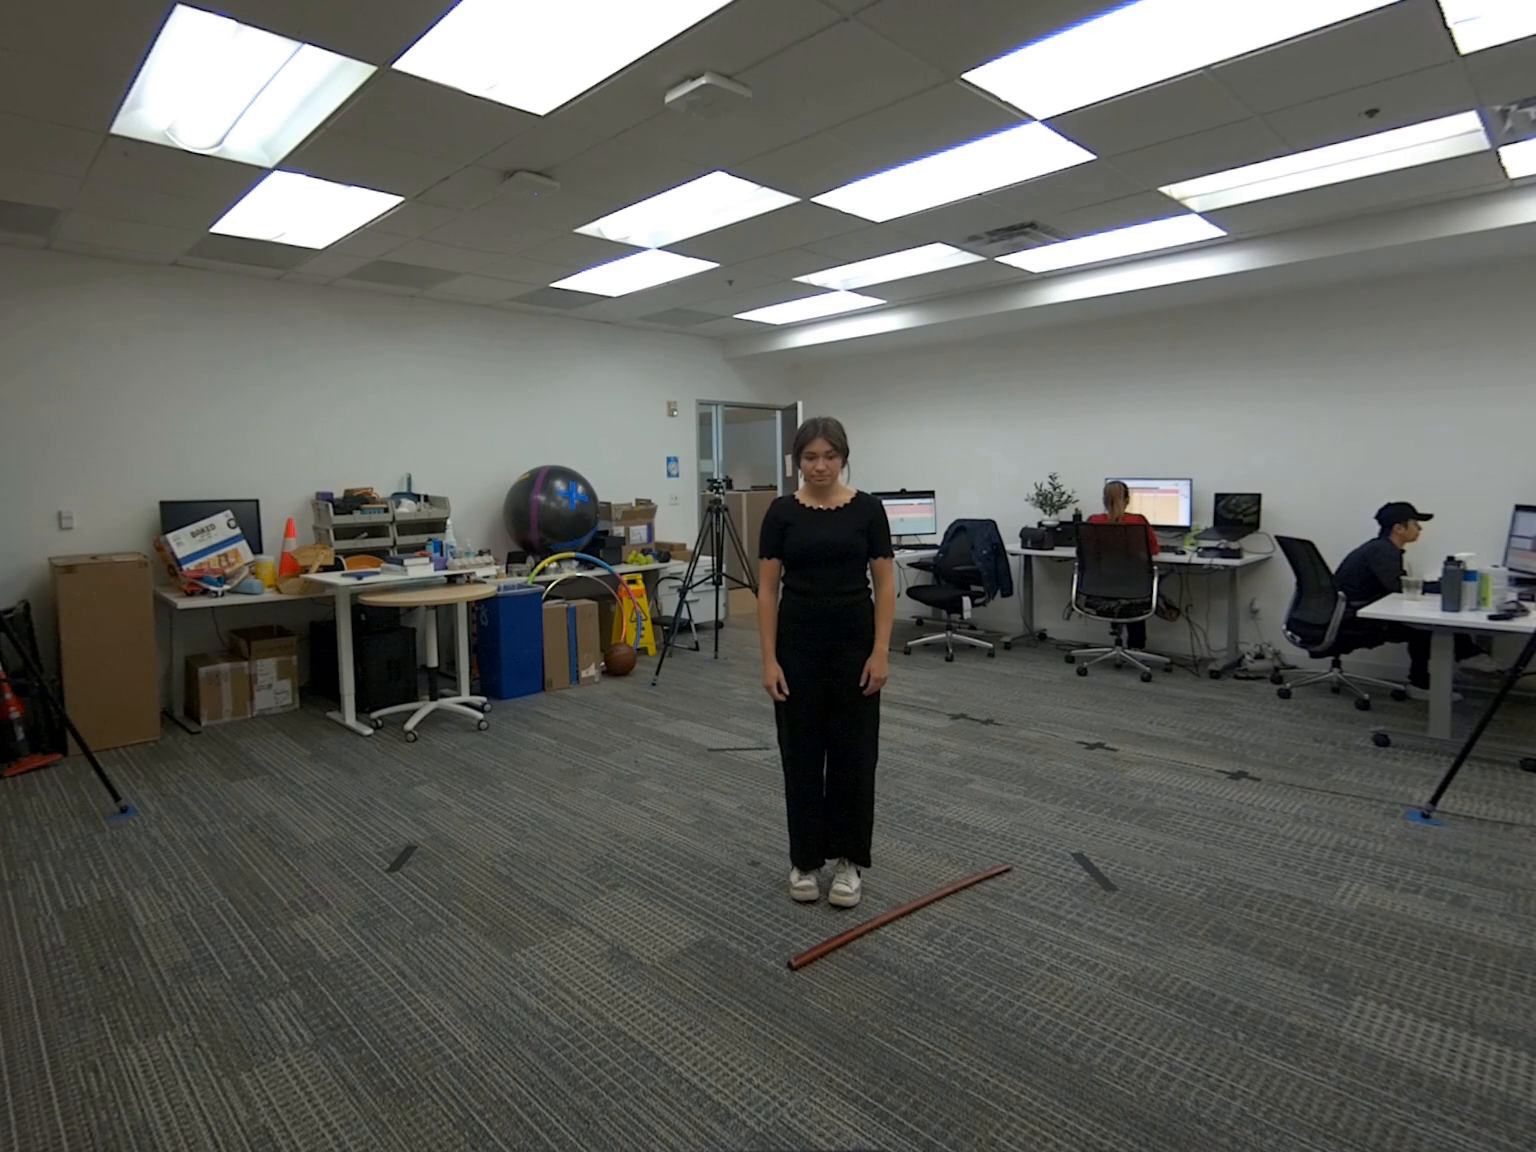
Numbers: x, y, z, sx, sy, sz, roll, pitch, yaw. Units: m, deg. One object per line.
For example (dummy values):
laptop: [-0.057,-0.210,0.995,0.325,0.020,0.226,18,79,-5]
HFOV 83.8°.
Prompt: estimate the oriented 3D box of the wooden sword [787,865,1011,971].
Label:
wooden sword: [0.453,1.059,2.741,0.999,0.024,0.053,-6,11,-36]
